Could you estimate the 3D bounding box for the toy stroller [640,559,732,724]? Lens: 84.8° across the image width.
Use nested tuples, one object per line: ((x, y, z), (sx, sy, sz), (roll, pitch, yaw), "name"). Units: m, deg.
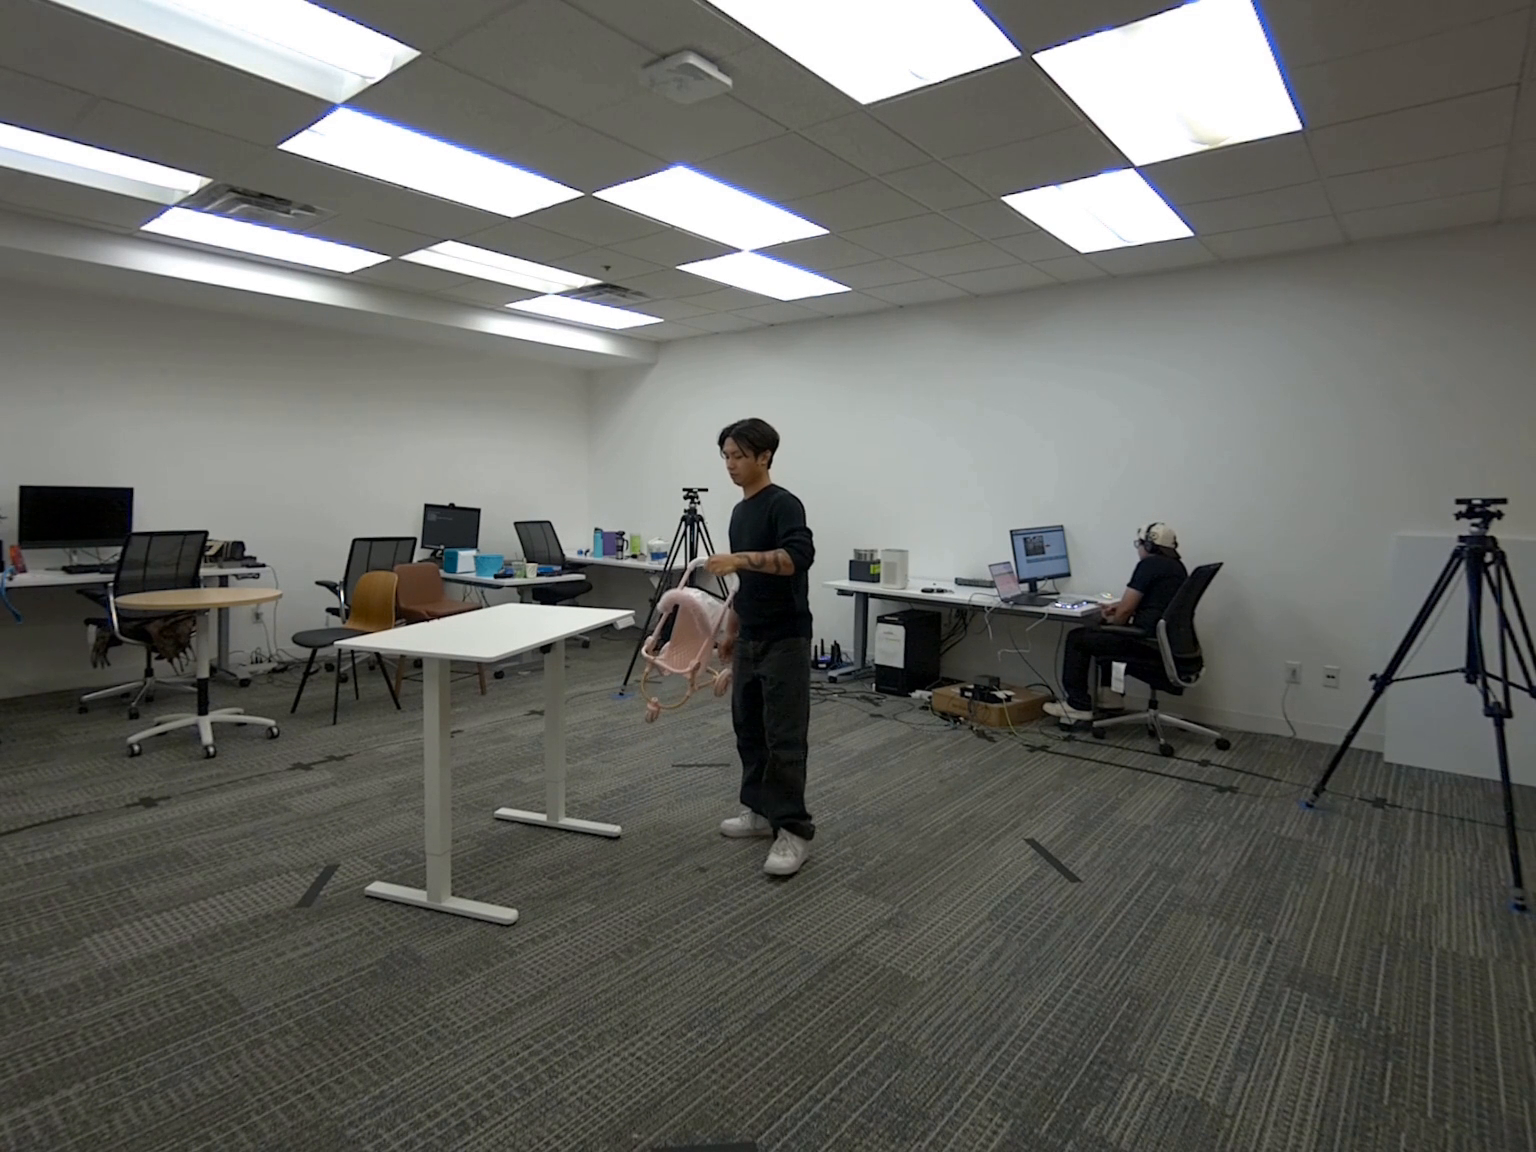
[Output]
((-0.316, 0.243, 3.010), (0.291, 0.526, 0.335), (27, 30, 26), "toy stroller")
